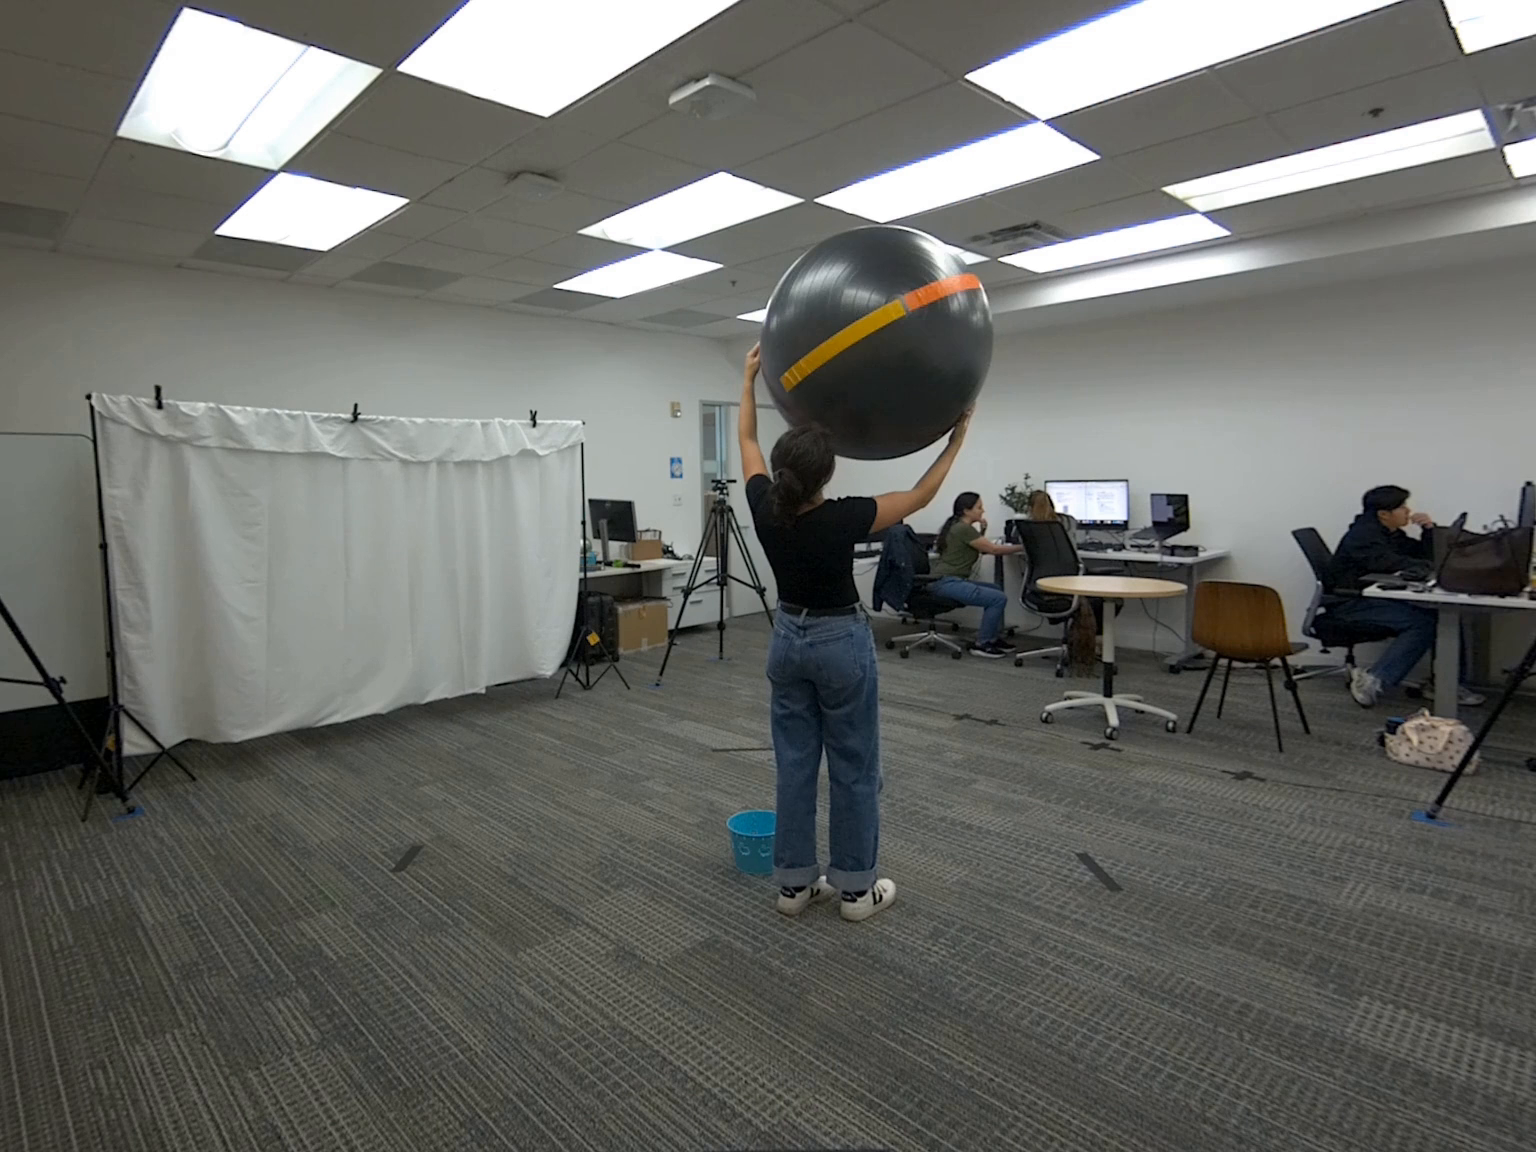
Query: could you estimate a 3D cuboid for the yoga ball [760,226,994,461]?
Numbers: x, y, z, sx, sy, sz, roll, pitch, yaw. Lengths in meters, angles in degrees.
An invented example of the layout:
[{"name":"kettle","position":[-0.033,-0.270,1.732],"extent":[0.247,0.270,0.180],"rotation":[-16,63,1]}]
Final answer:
[{"name":"yoga ball","position":[0.349,-0.755,2.835],"extent":[0.757,0.755,0.762],"rotation":[-1,5,-2]}]
